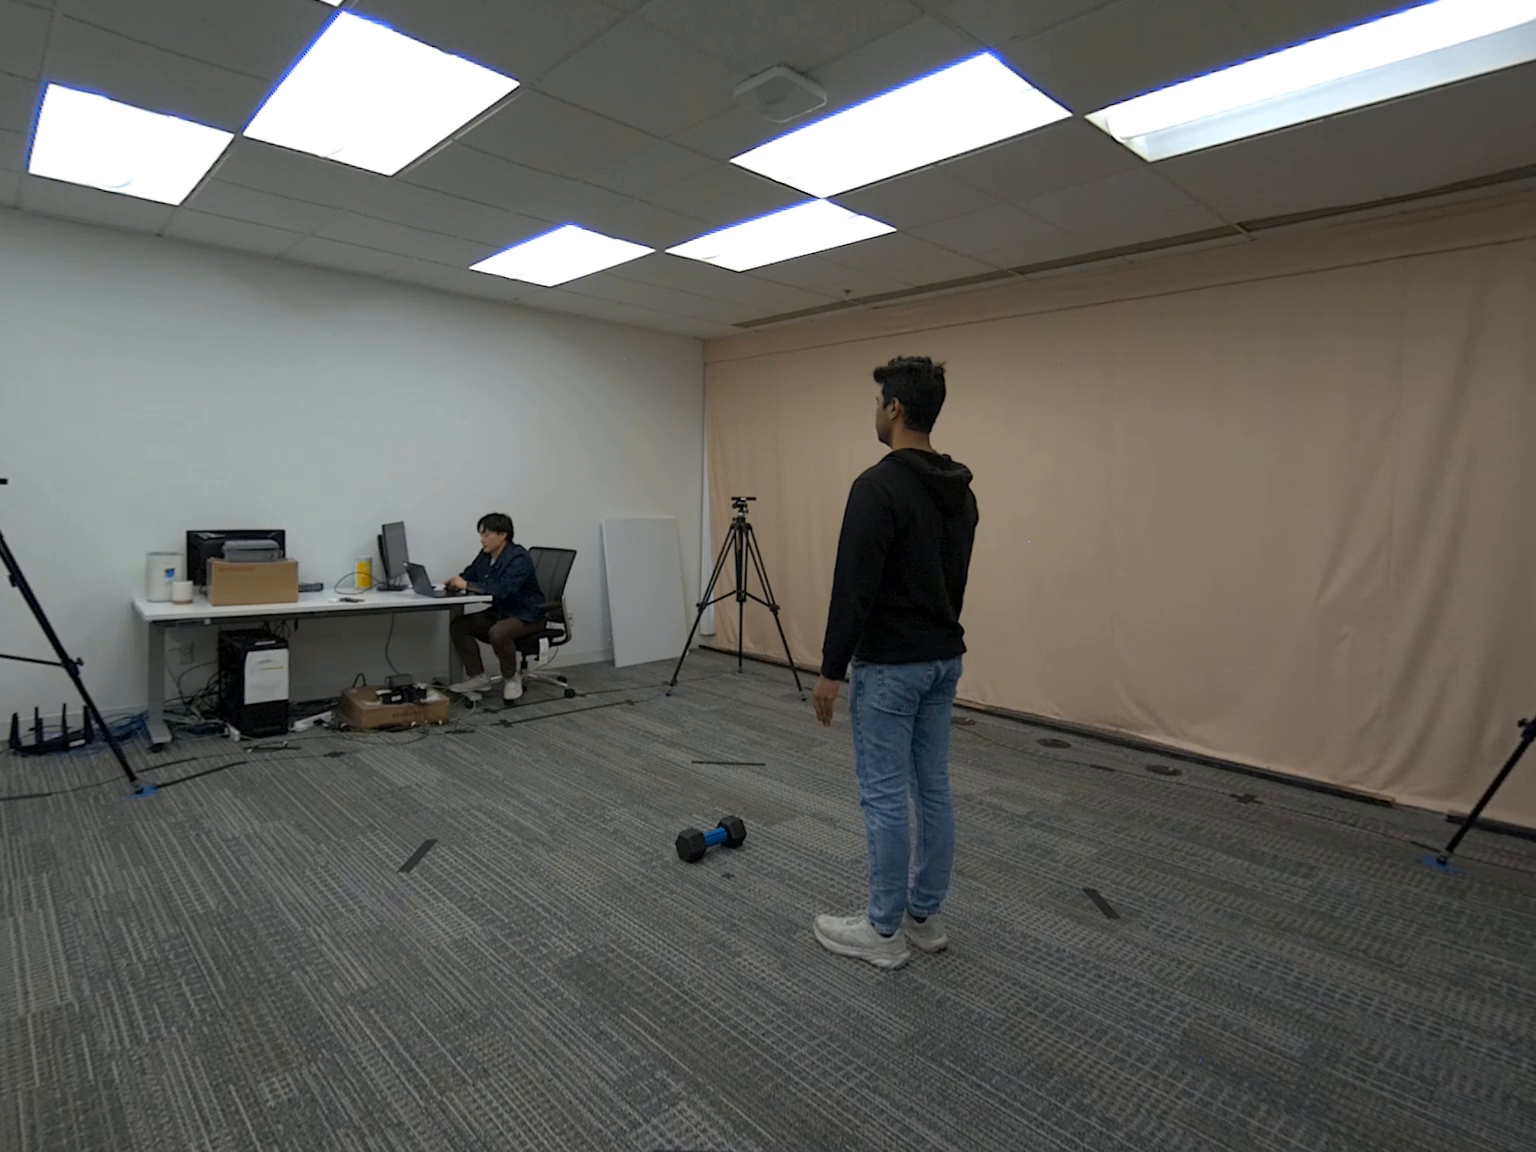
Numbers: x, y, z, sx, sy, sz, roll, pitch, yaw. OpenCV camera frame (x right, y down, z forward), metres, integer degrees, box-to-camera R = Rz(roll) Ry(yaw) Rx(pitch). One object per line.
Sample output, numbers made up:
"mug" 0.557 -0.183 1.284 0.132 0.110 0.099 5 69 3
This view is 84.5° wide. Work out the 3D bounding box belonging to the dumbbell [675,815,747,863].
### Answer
"dumbbell" -0.229 1.031 3.306 0.287 0.122 0.112 -4 38 -44
